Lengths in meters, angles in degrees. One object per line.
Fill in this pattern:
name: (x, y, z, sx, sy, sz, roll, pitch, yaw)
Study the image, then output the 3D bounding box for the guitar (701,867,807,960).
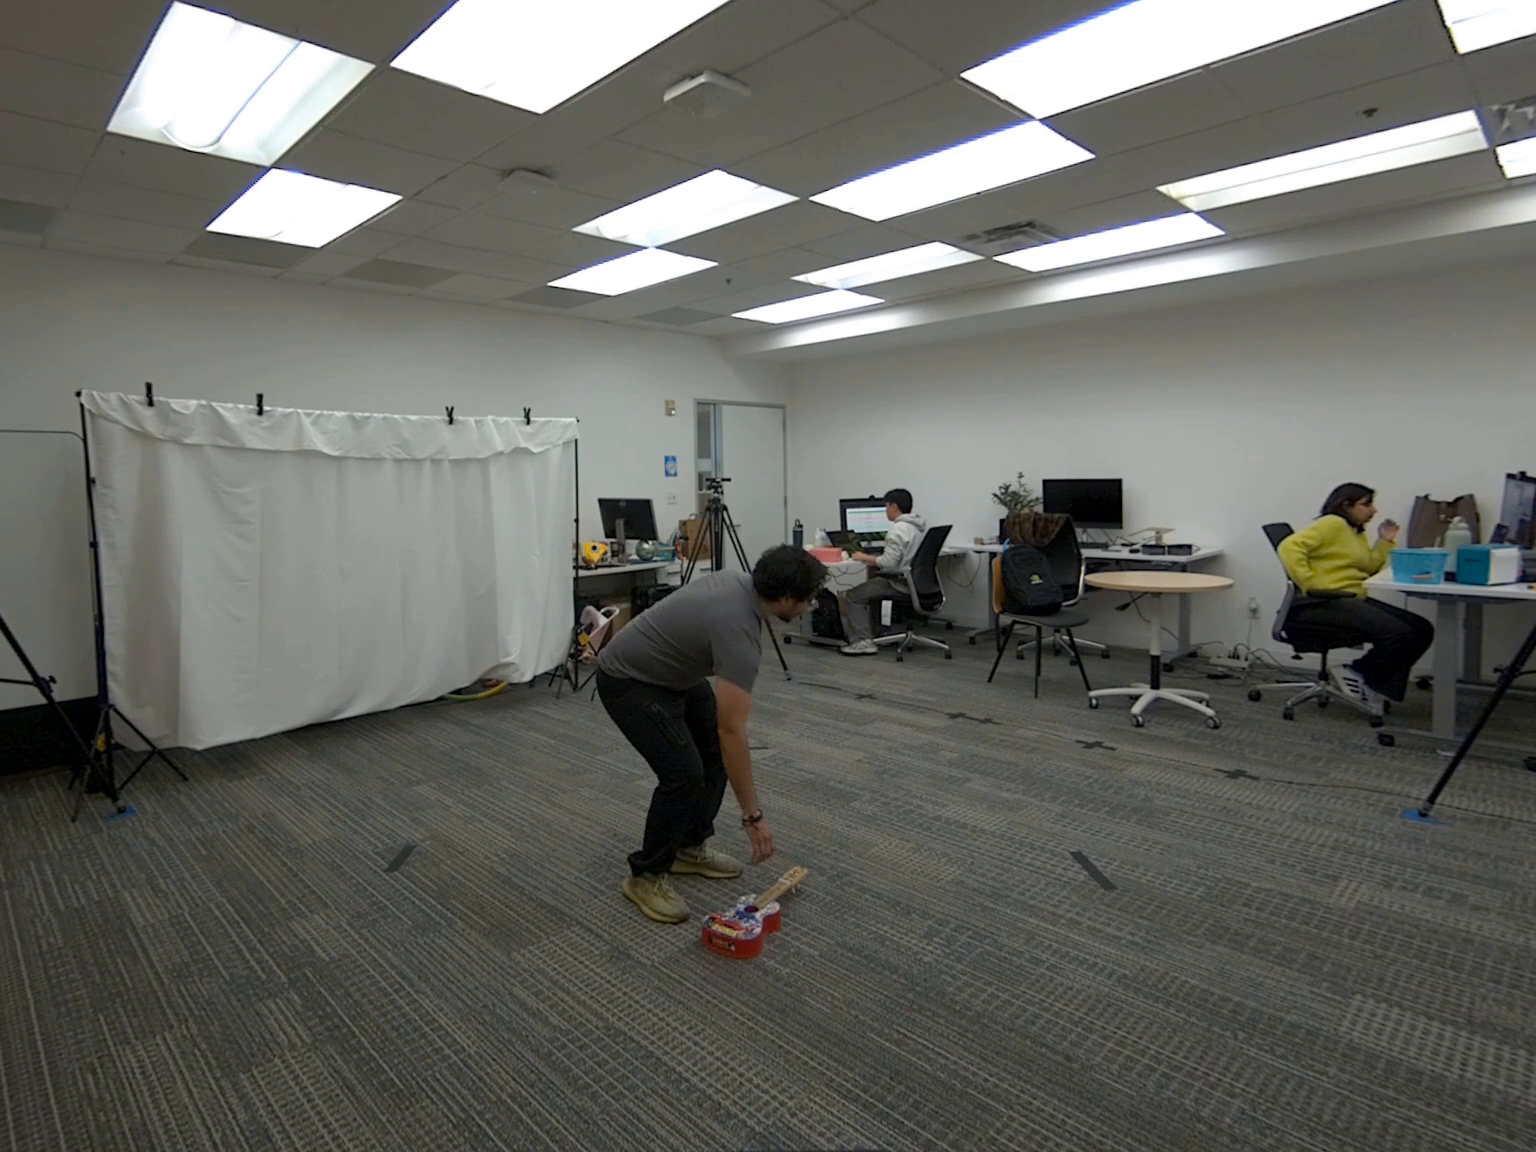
guitar: (0.009, 1.050, 2.704, 0.199, 0.070, 0.486, 5, 10, 40)
